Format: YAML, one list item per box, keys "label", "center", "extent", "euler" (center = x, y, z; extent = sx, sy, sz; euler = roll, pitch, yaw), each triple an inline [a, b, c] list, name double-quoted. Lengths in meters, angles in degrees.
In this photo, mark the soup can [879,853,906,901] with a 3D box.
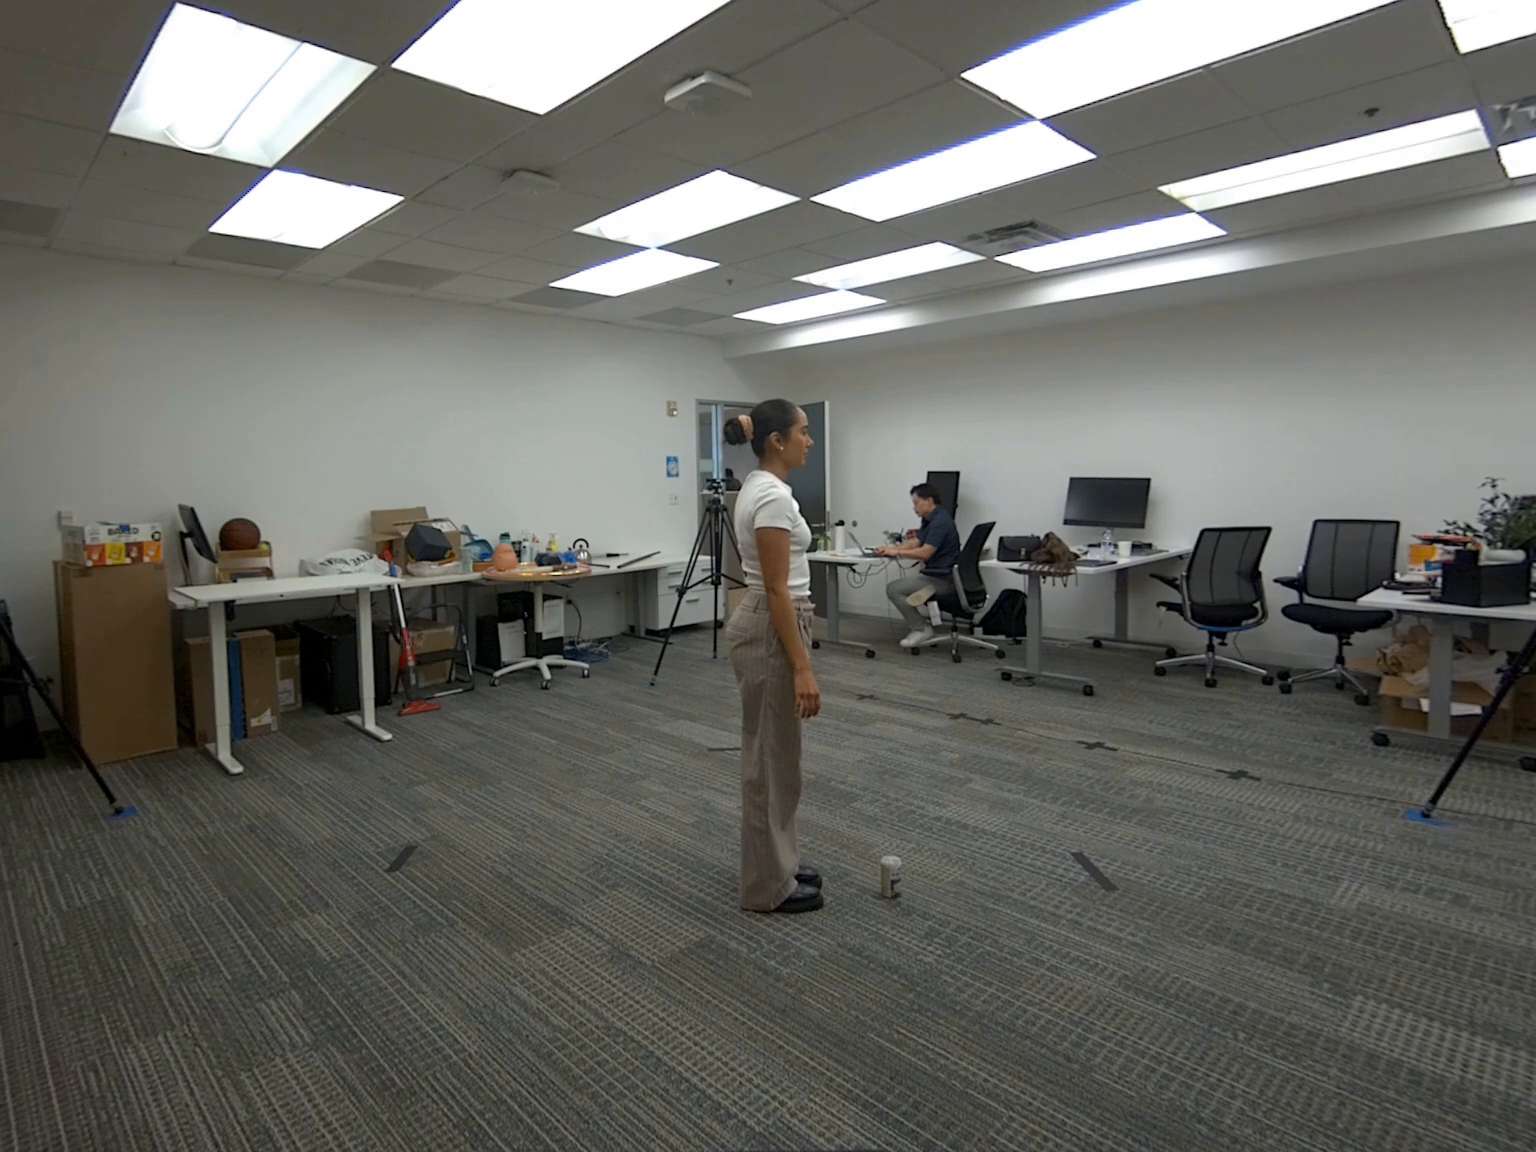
- label: "soup can"
  center: [0.411, 0.998, 2.848]
  extent: [0.067, 0.121, 0.067]
  euler: [1, 5, -2]
